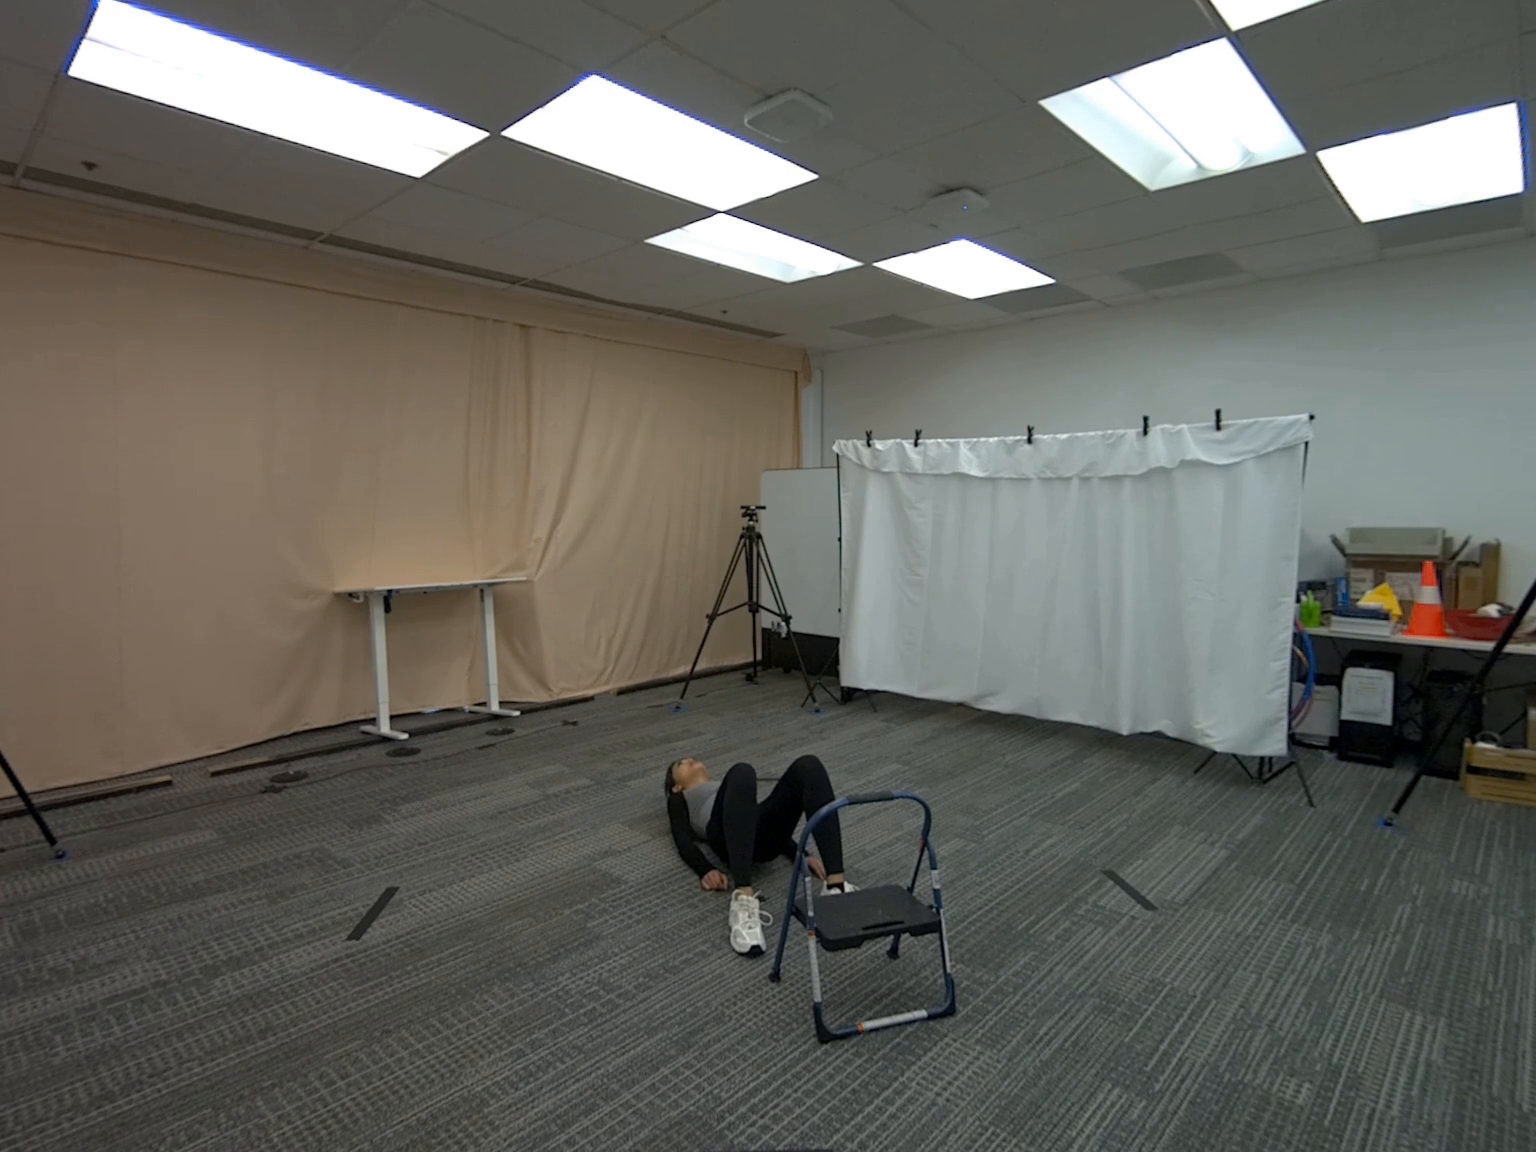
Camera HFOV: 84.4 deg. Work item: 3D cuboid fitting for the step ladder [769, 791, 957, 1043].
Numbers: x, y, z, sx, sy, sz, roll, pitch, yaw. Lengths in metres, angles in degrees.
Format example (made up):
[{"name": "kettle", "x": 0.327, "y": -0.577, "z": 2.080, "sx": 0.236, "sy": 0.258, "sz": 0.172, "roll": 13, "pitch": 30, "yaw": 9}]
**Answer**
[{"name": "step ladder", "x": 0.270, "y": 0.893, "z": 2.383, "sx": 0.422, "sy": 0.605, "sz": 0.357, "roll": -1, "pitch": 3, "yaw": -21}]
